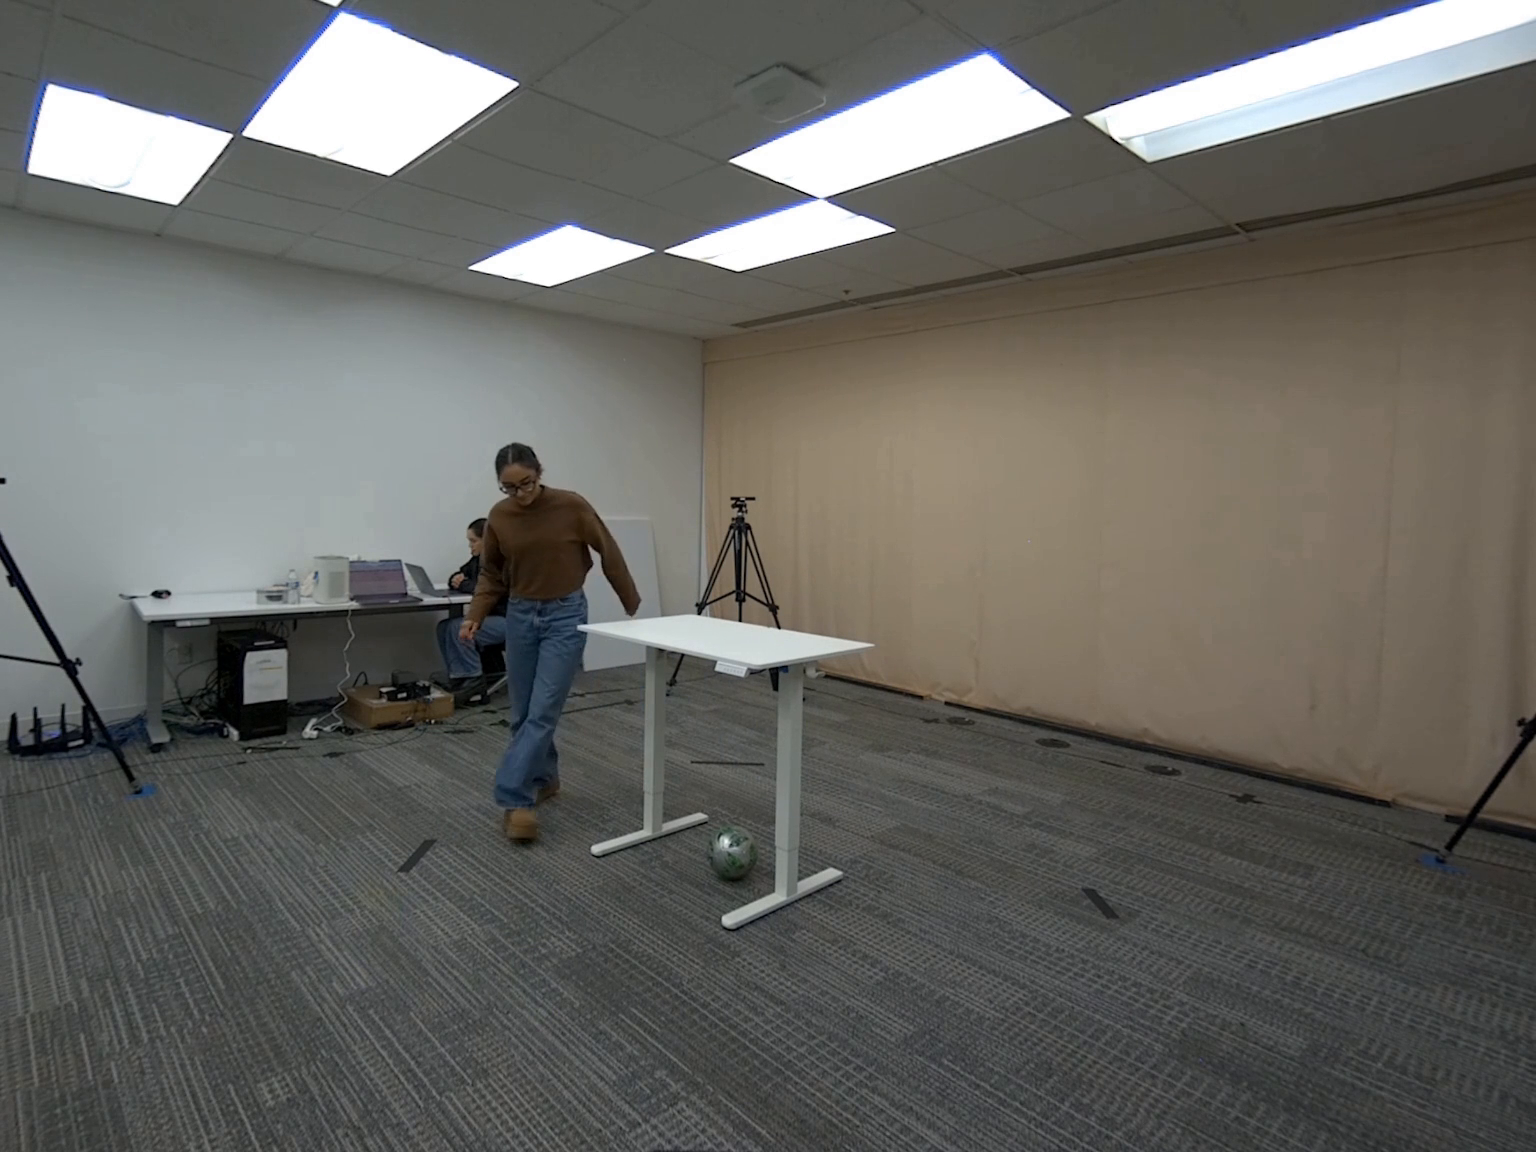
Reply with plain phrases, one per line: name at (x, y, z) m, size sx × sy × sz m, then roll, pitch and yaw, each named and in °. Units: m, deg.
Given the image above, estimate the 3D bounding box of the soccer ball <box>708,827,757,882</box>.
soccer ball at (-0.135, 1.019, 3.090) m, size 0.187 × 0.187 × 0.188 m, roll 1°, pitch 4°, yaw -1°
